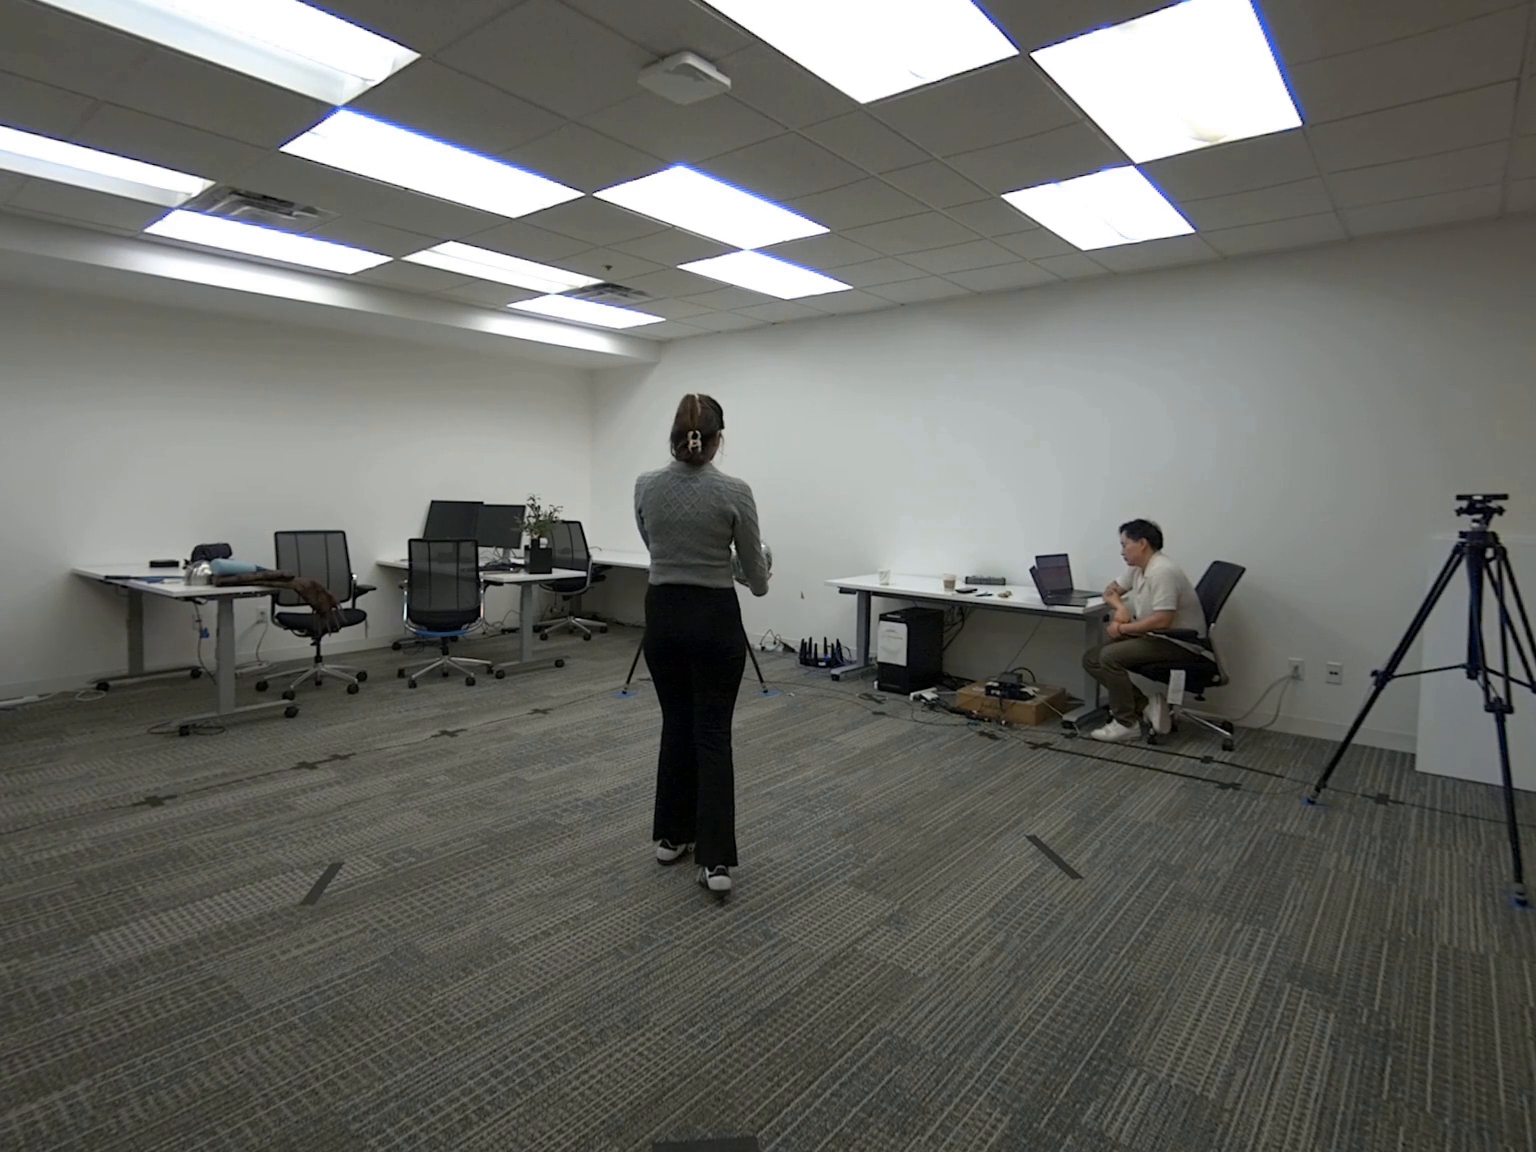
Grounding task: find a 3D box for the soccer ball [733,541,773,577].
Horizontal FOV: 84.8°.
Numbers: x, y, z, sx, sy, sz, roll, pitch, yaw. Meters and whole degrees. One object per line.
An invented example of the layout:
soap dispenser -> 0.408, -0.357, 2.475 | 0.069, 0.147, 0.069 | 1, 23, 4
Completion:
soccer ball -> -0.081, -0.068, 3.417 | 0.187, 0.187, 0.188 | 0, 4, -2
